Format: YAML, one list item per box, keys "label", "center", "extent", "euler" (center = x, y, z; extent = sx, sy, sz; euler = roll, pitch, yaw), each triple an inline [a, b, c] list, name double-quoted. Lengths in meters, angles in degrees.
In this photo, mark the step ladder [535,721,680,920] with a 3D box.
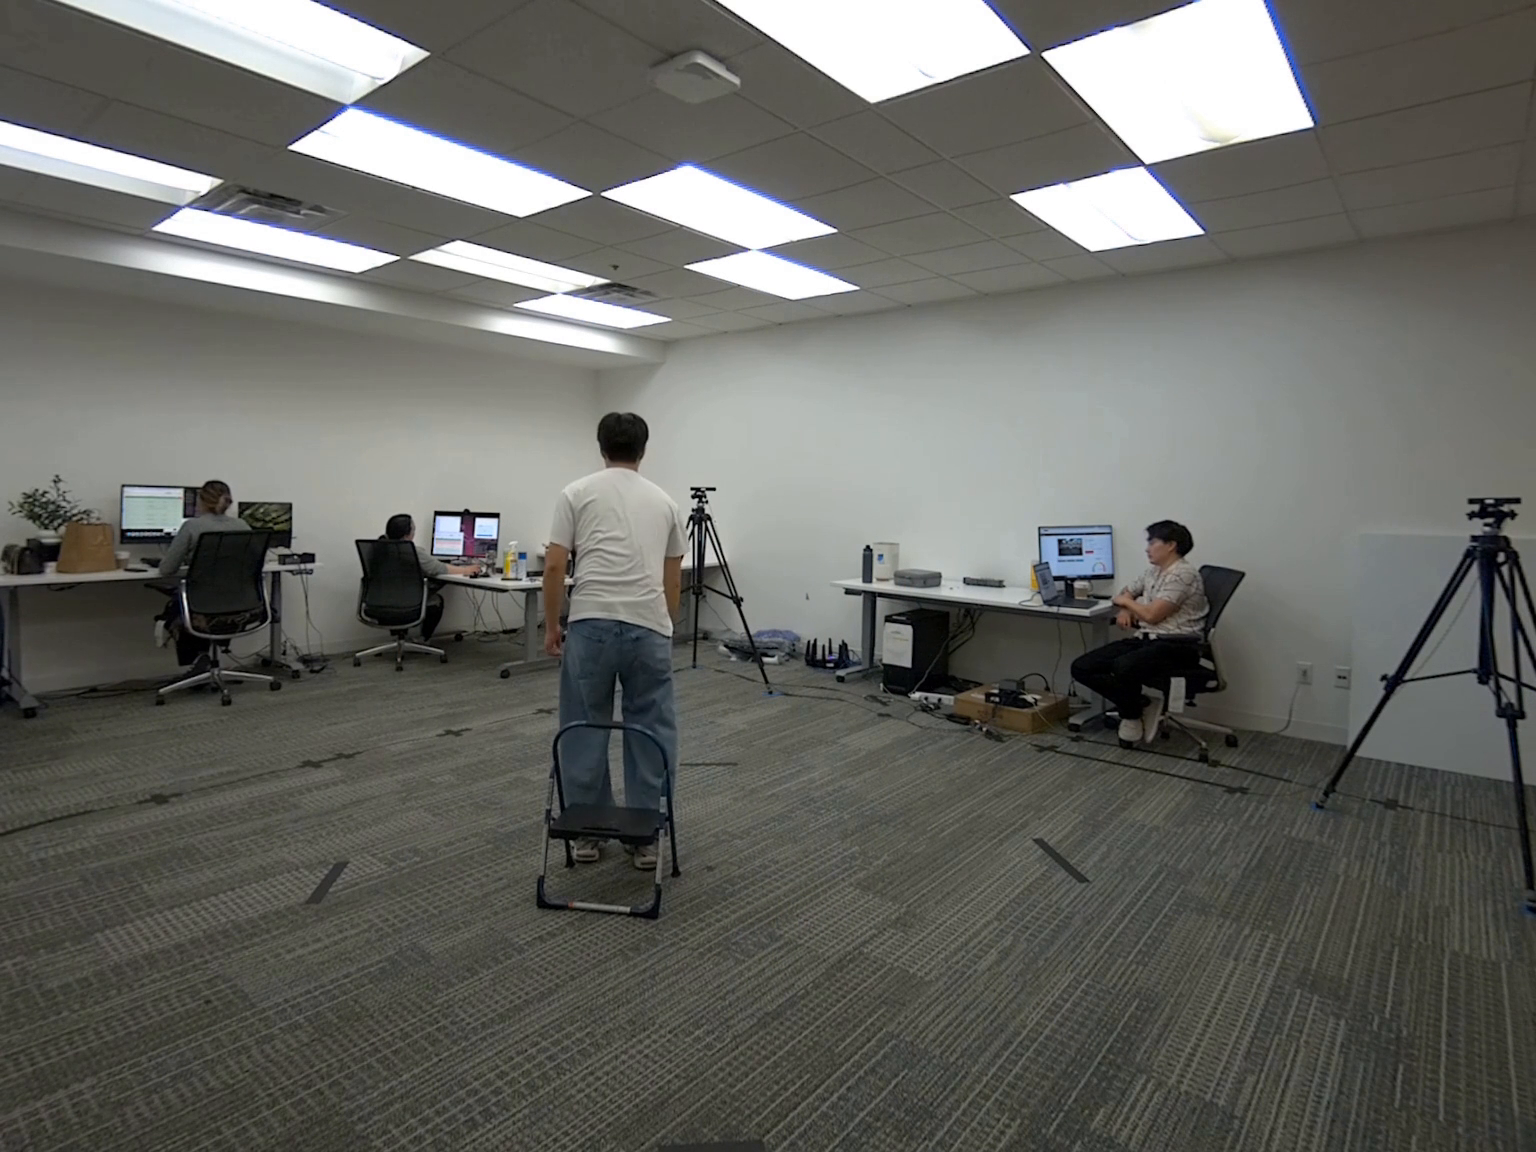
- label: "step ladder"
  center: [-0.550, 0.775, 2.911]
  extent: [0.434, 0.604, 0.347]
  euler: [1, 3, 7]
